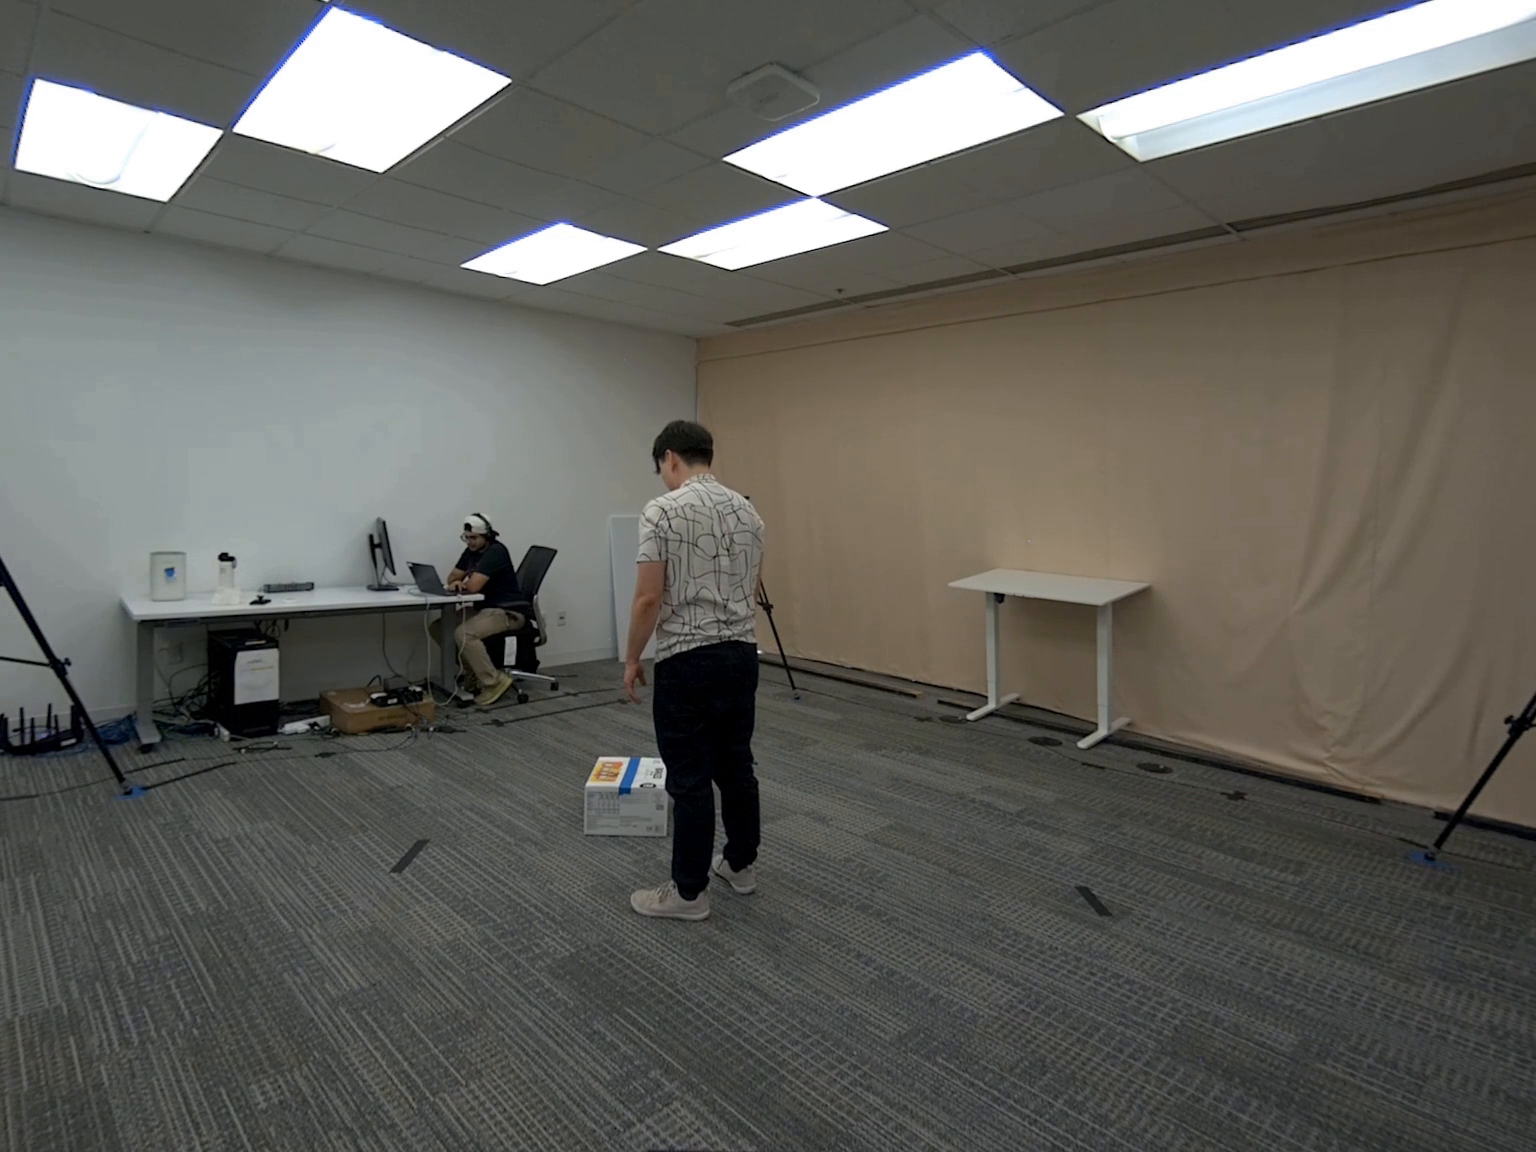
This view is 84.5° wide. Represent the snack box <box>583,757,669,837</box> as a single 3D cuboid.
[{"bbox_3d":[-0.600,0.946,3.630,0.340,0.205,0.407,1,4,-2],"label":"snack box"}]
